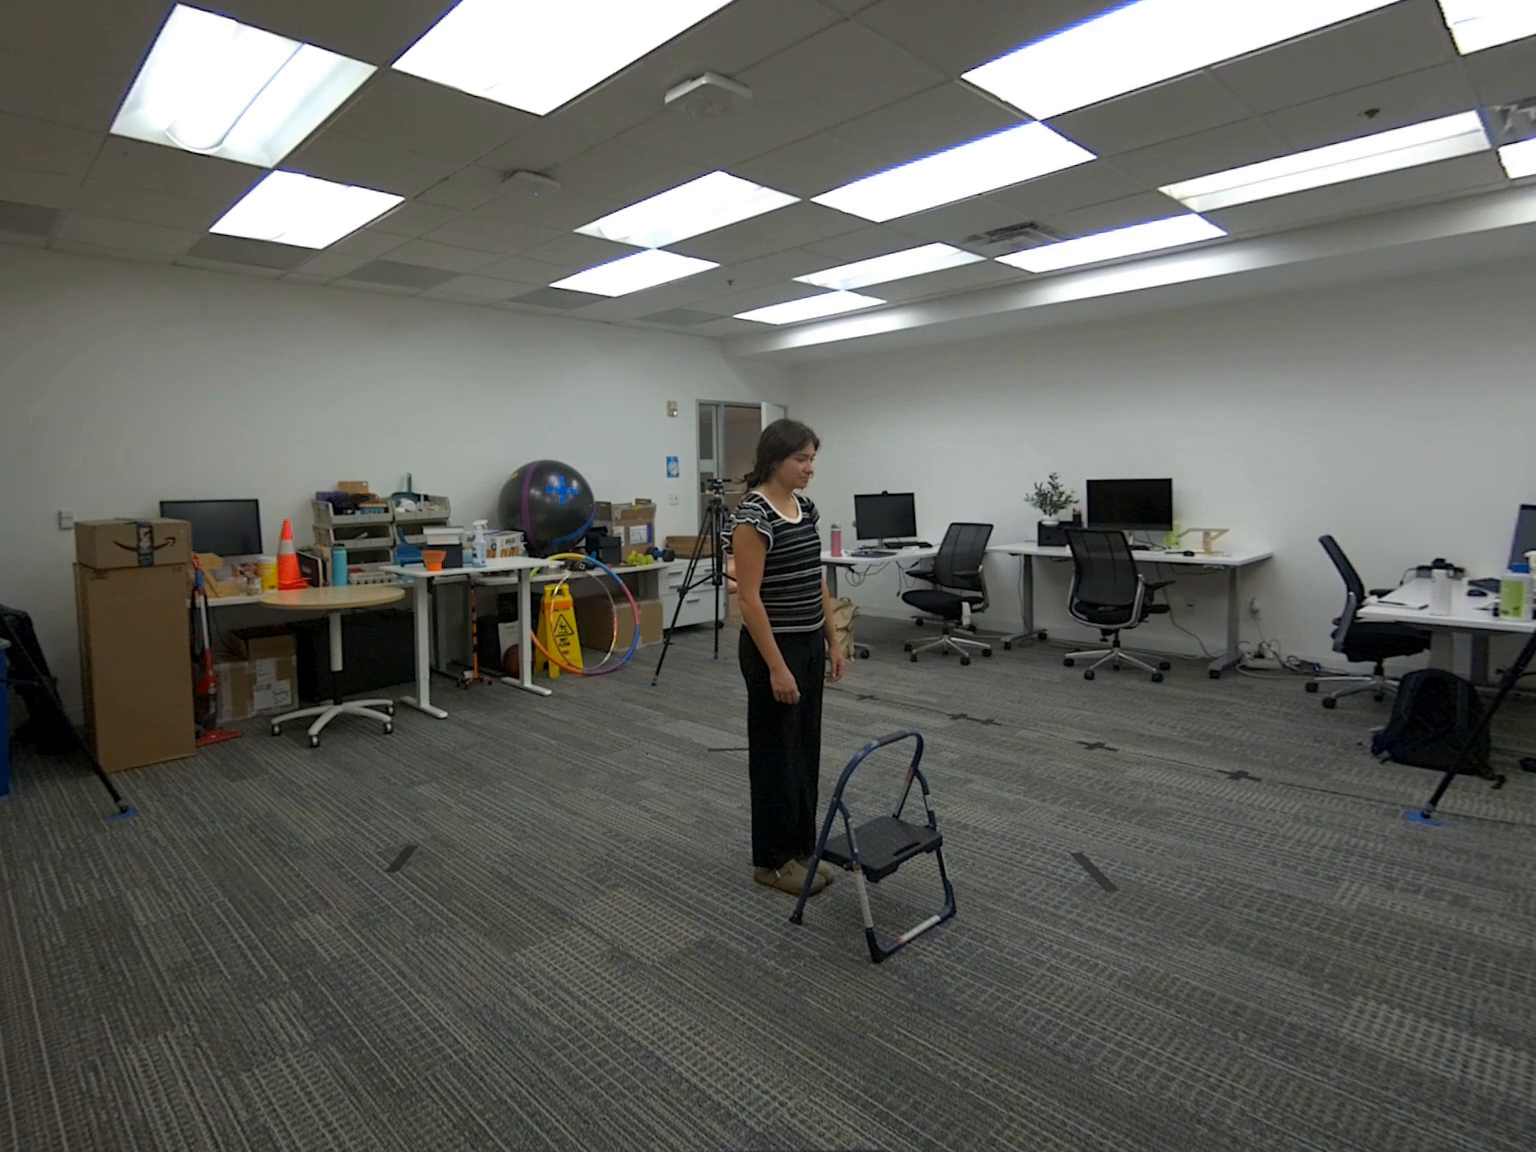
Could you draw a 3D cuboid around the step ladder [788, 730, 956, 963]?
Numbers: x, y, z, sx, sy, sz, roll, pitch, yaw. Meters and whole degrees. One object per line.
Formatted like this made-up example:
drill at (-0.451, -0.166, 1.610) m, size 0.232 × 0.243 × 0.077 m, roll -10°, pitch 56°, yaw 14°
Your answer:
step ladder at (0.333, 0.783, 2.694) m, size 0.419 × 0.604 × 0.360 m, roll -5°, pitch 6°, yaw -45°
